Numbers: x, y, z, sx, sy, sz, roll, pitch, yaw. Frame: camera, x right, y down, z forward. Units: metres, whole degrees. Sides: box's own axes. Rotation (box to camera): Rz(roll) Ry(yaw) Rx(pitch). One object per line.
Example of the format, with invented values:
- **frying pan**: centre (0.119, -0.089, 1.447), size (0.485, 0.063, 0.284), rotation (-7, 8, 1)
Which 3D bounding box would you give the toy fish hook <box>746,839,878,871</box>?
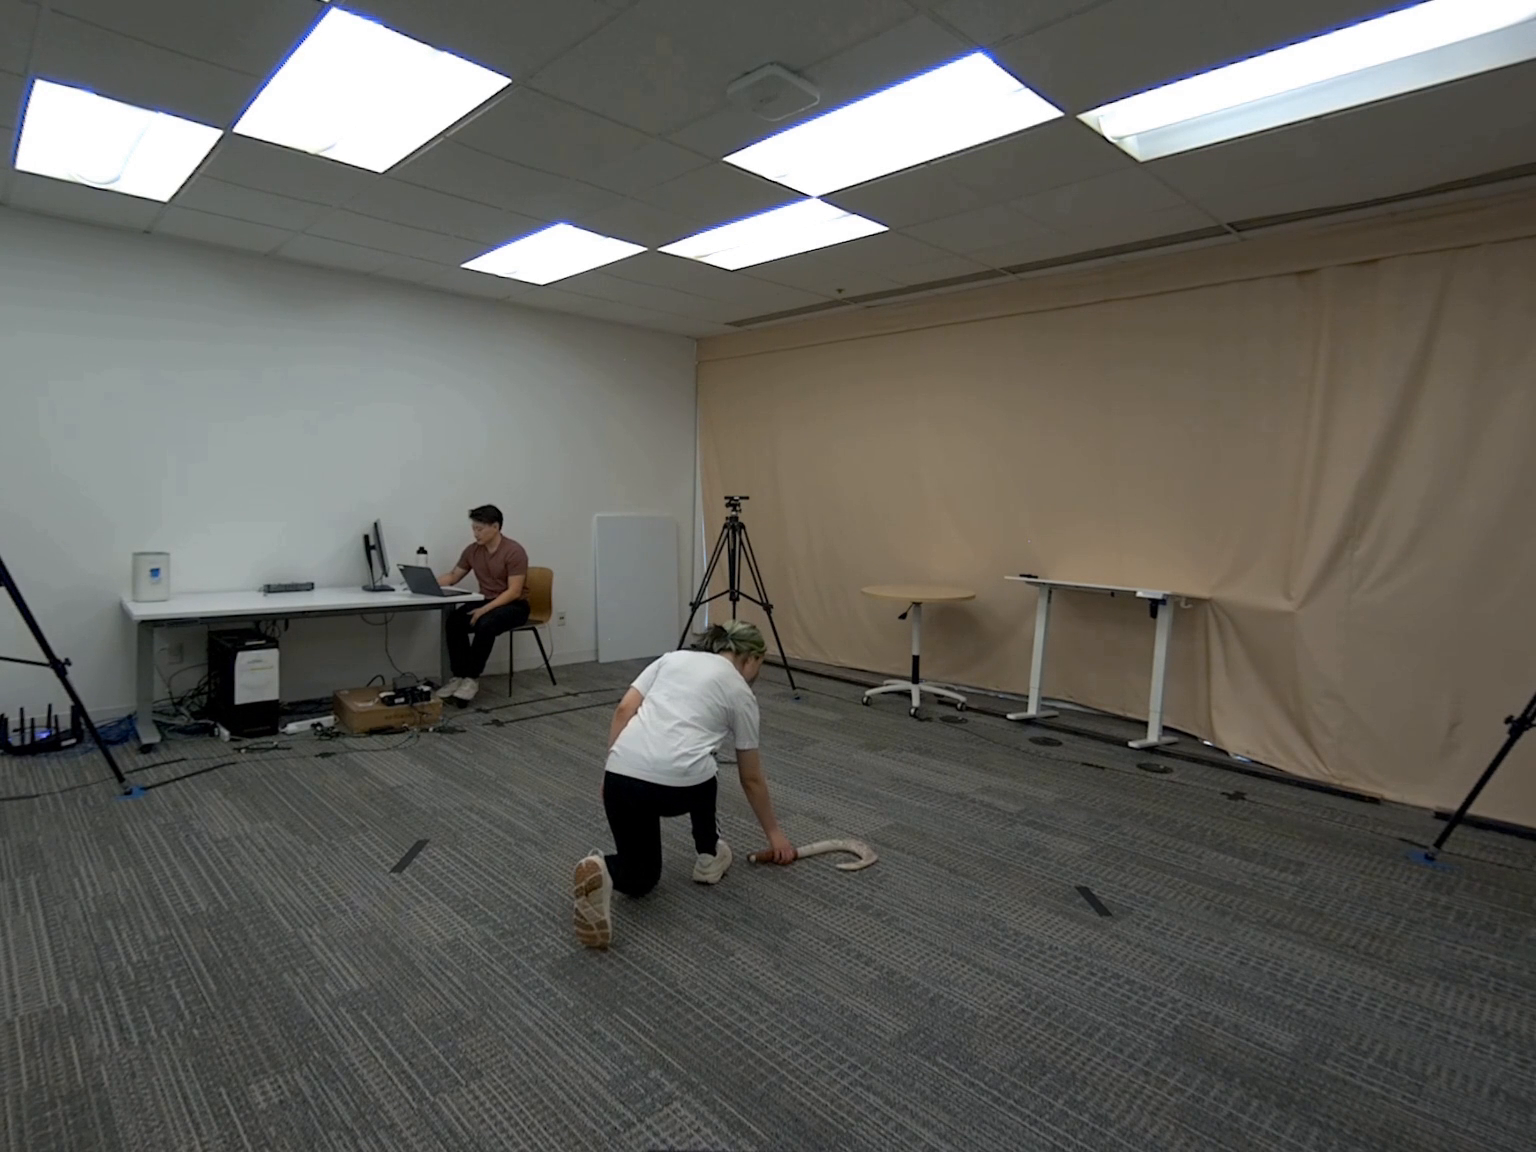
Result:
- **toy fish hook**: centre (0.167, 1.075, 3.224), size (0.499, 0.048, 0.228), rotation (0, 4, -19)
